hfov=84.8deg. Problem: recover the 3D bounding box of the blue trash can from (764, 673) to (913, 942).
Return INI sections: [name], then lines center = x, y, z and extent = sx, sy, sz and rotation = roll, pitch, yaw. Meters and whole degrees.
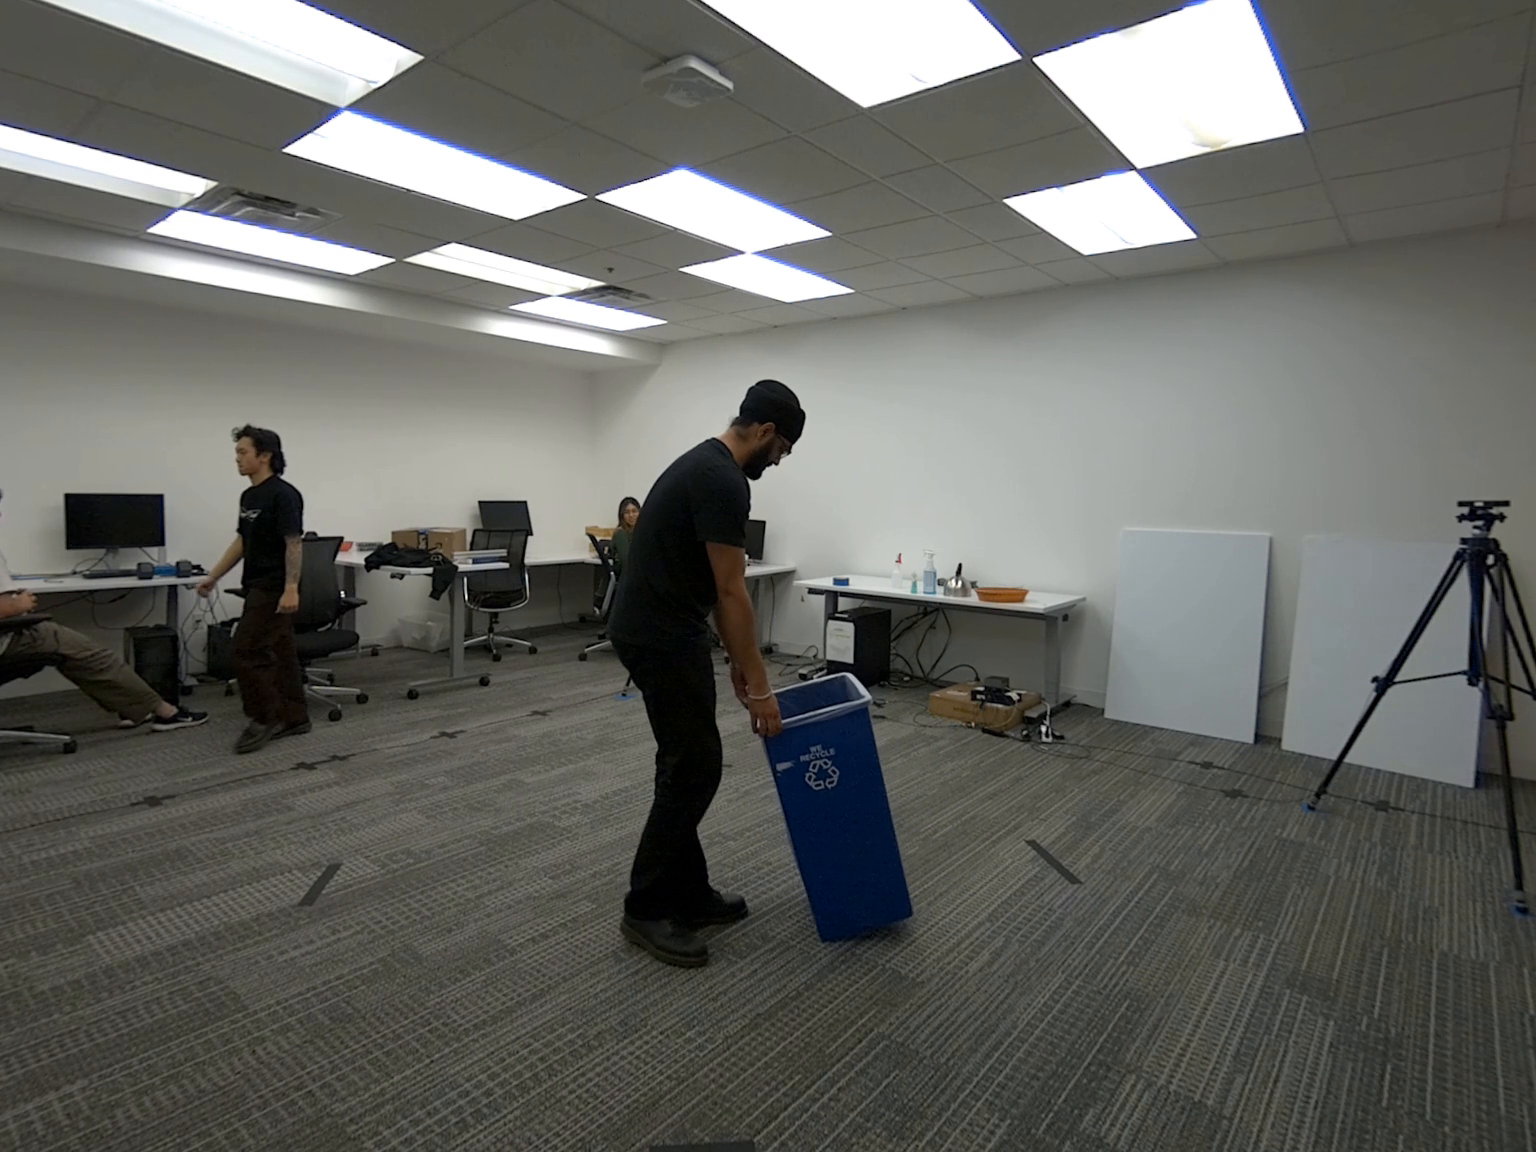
[blue trash can]
center = 0.196, 0.740, 2.743
extent = 0.373, 0.710, 0.381
rotation = -14, 5, -4
